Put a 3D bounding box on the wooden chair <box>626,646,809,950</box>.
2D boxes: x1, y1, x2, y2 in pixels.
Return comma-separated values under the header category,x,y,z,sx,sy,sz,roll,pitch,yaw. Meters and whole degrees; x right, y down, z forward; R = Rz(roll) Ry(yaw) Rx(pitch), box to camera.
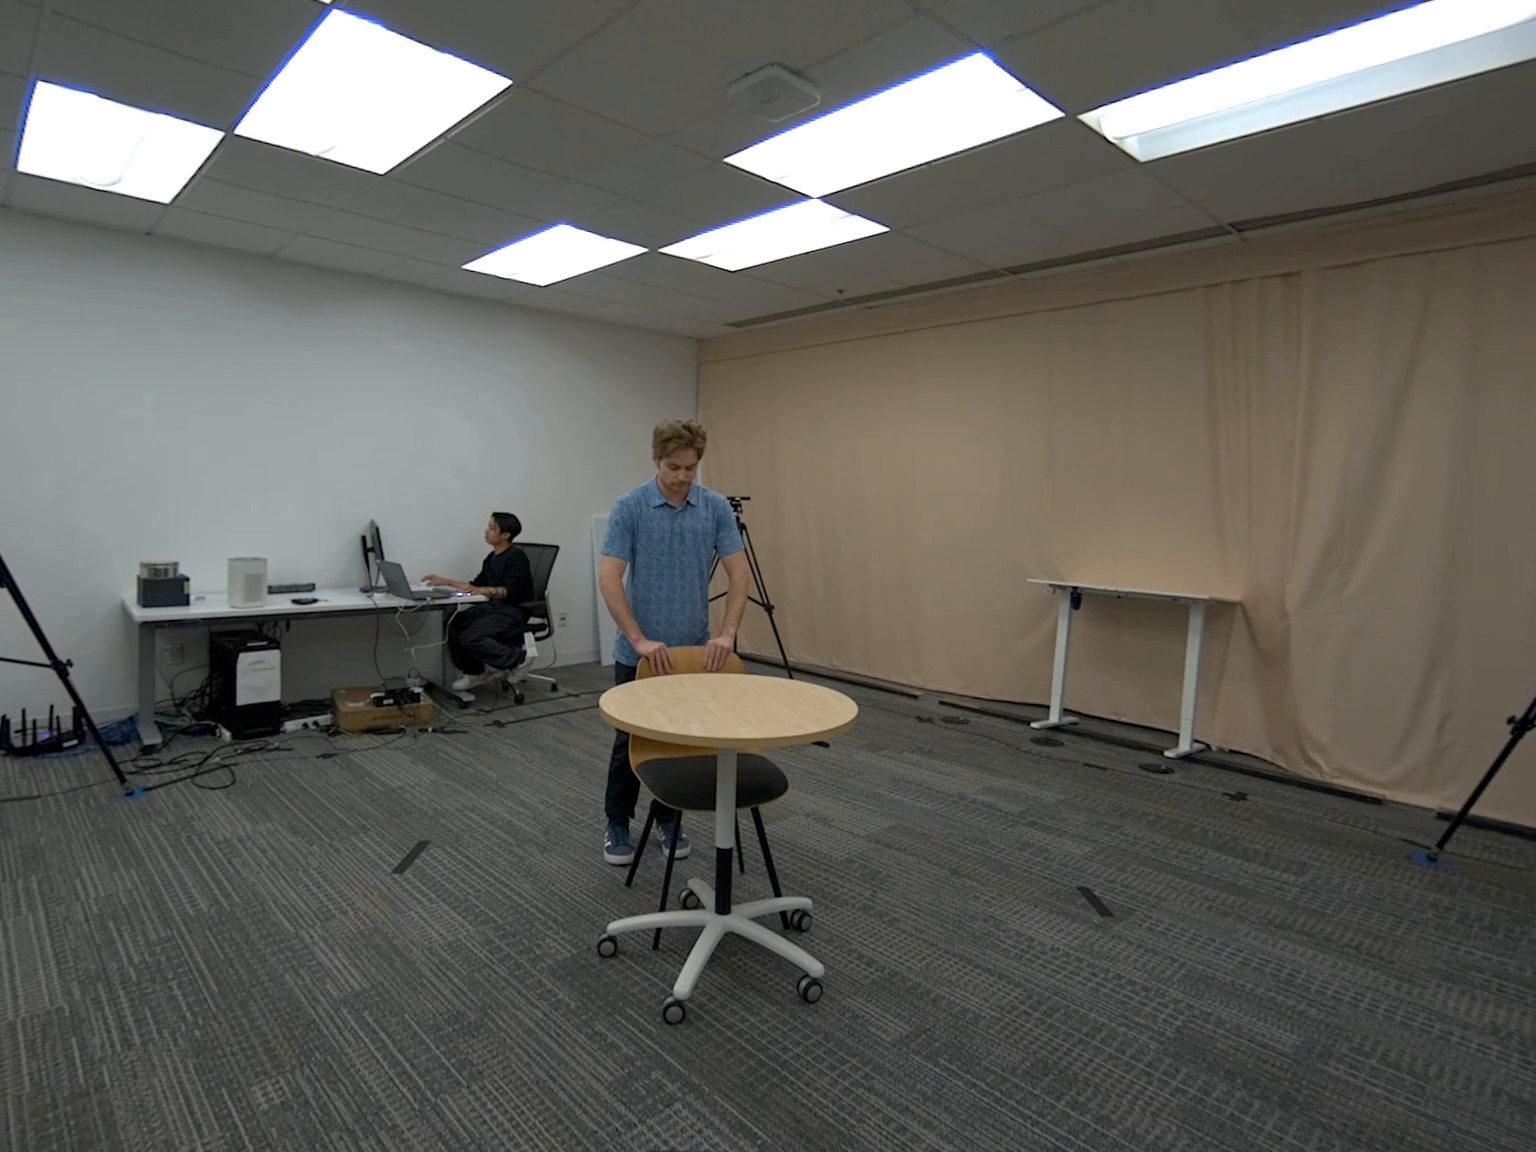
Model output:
category,x,y,z,sx,sy,sz,roll,pitch,yaw
wooden chair,-0.214,0.703,2.823,0.471,0.877,0.531,0,0,-20
